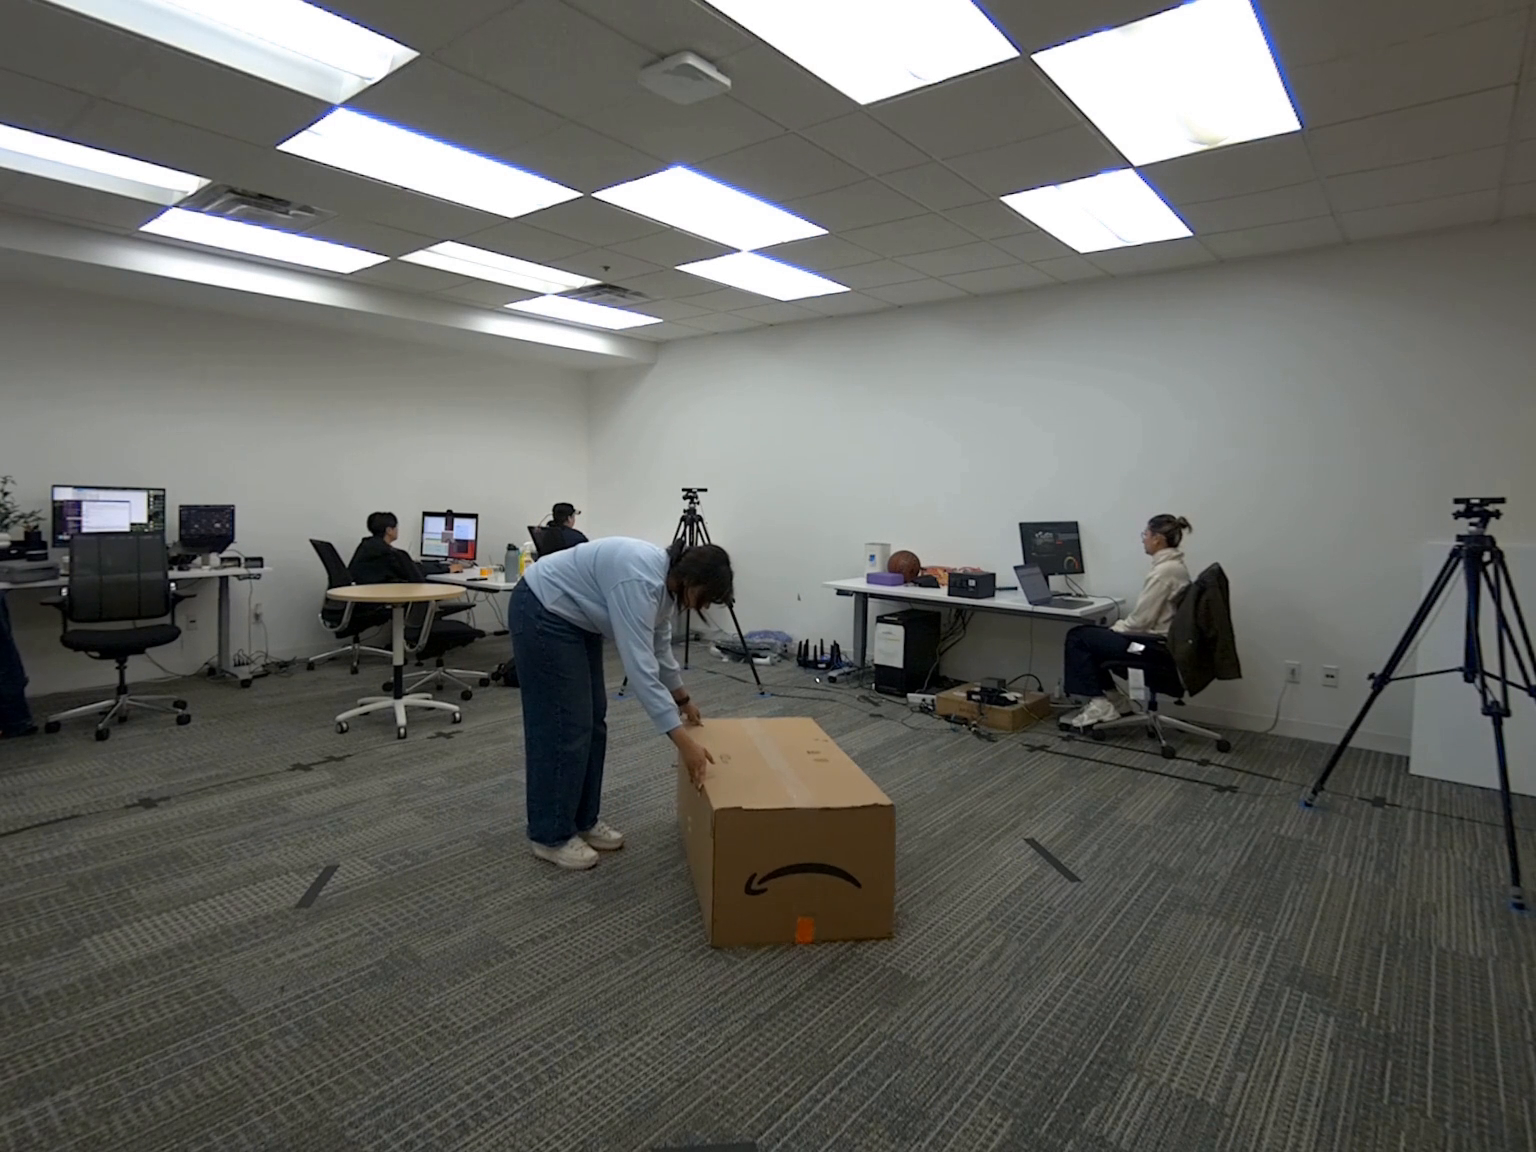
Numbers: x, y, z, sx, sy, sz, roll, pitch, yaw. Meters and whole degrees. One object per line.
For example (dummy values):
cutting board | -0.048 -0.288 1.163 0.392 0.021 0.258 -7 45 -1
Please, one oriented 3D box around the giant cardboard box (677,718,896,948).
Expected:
giant cardboard box | -0.003 0.858 3.096 0.571 0.424 1.041 0 5 -11
